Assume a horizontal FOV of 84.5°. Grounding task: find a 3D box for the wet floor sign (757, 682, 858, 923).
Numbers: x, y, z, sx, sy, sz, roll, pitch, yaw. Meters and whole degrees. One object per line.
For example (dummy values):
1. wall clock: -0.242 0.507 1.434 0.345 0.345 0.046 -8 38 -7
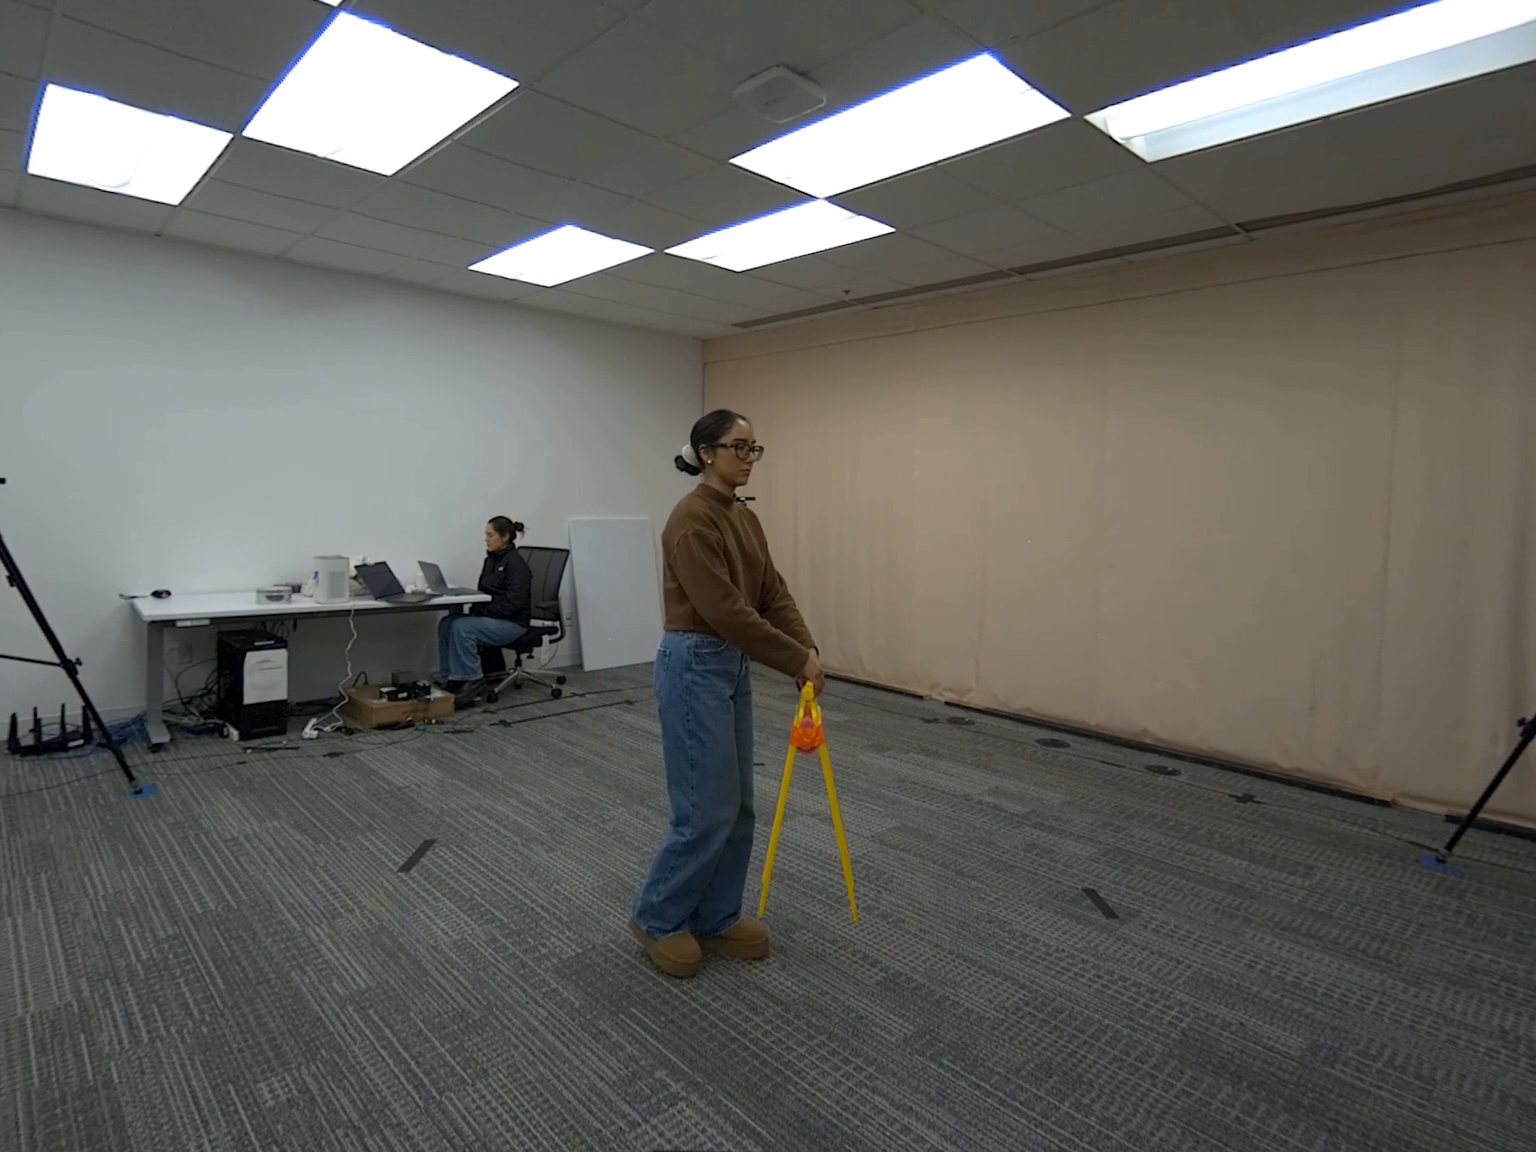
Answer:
1. wet floor sign: 0.108 0.615 2.390 0.291 0.644 0.282 1 4 5
